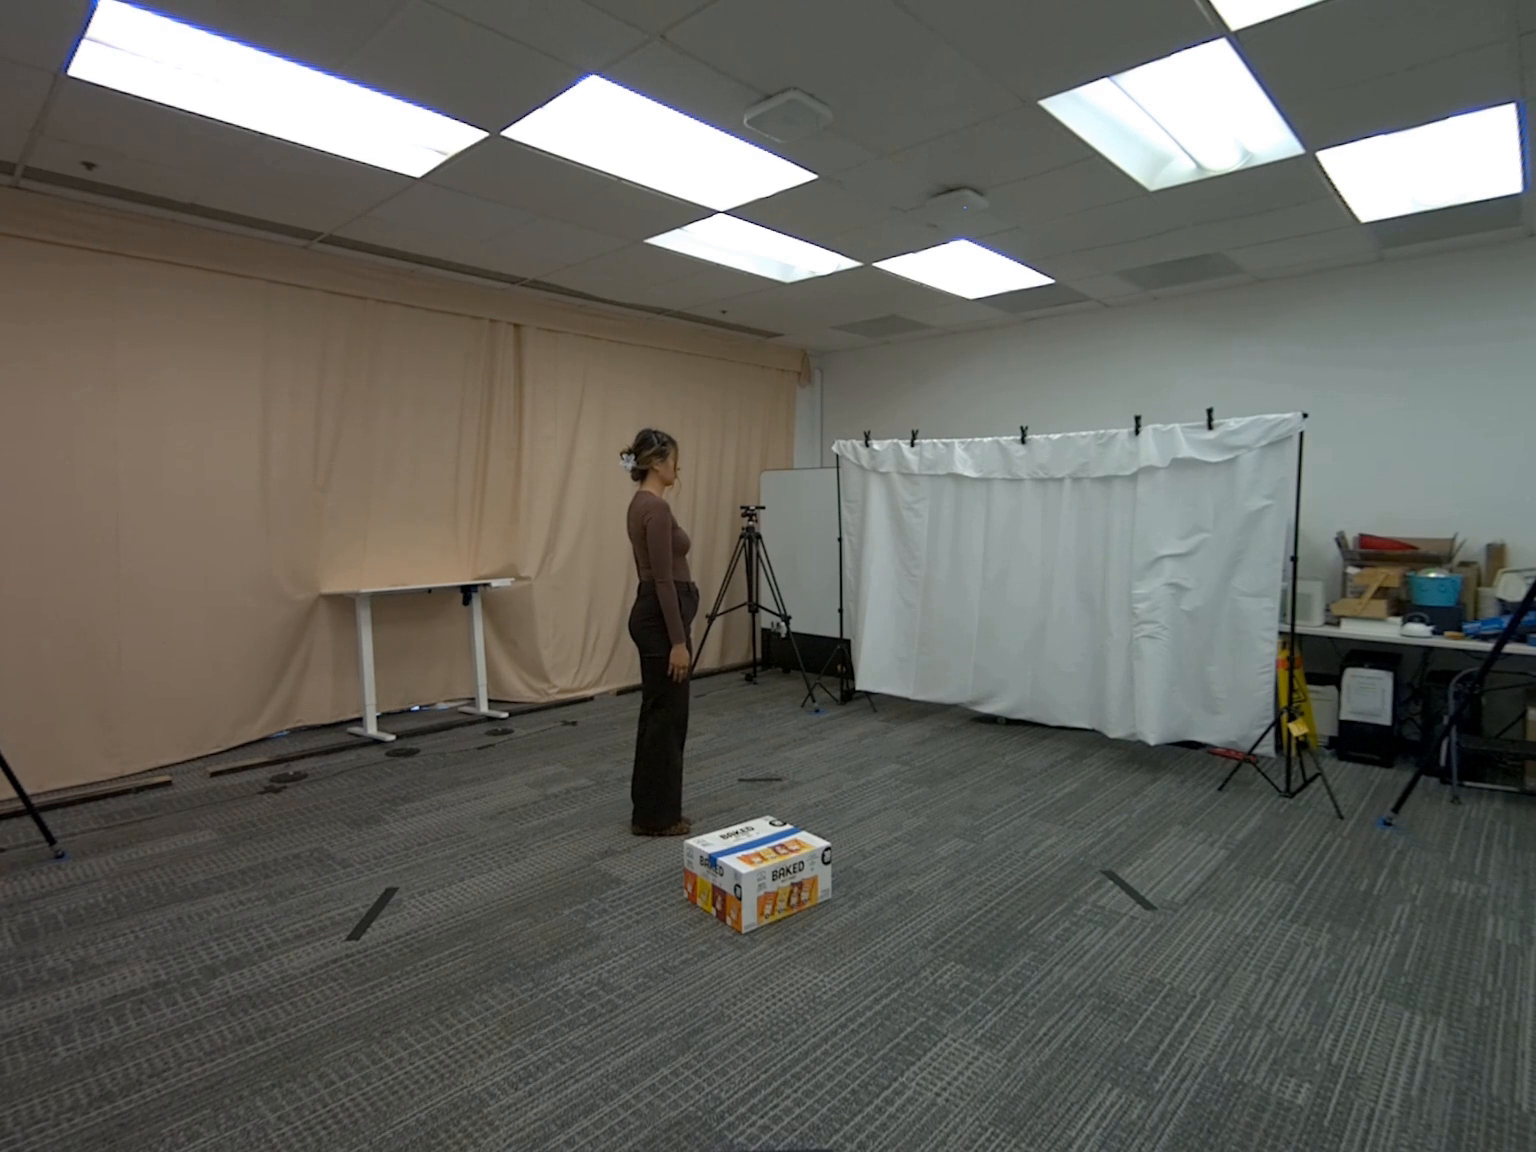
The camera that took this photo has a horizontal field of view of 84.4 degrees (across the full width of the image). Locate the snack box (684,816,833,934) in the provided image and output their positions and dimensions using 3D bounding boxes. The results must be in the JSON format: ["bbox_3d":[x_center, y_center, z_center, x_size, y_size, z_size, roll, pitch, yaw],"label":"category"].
[{"bbox_3d":[-0.034,1.043,2.980,0.393,0.205,0.351,-4,6,-39],"label":"snack box"}]
